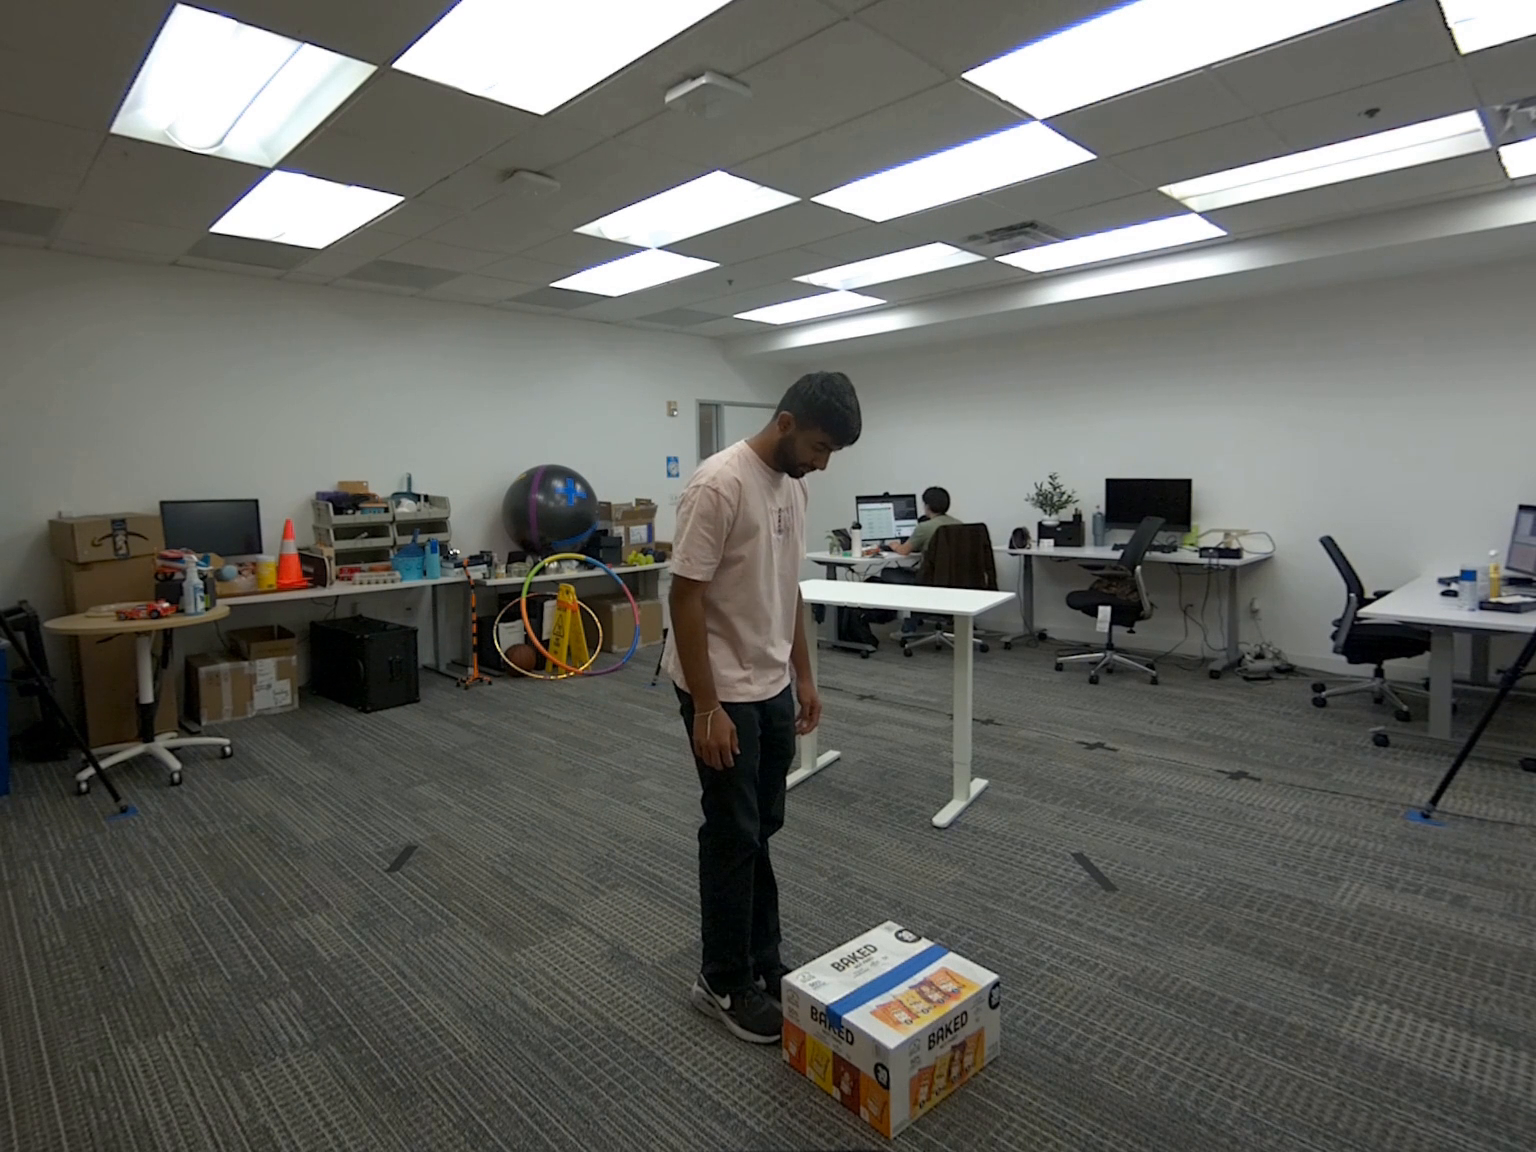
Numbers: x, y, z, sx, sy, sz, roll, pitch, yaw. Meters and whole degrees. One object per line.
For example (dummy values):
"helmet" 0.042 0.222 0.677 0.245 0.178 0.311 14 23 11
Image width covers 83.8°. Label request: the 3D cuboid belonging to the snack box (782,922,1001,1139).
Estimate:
"snack box" 0.302 1.063 2.047 0.395 0.205 0.351 -6 8 -40
